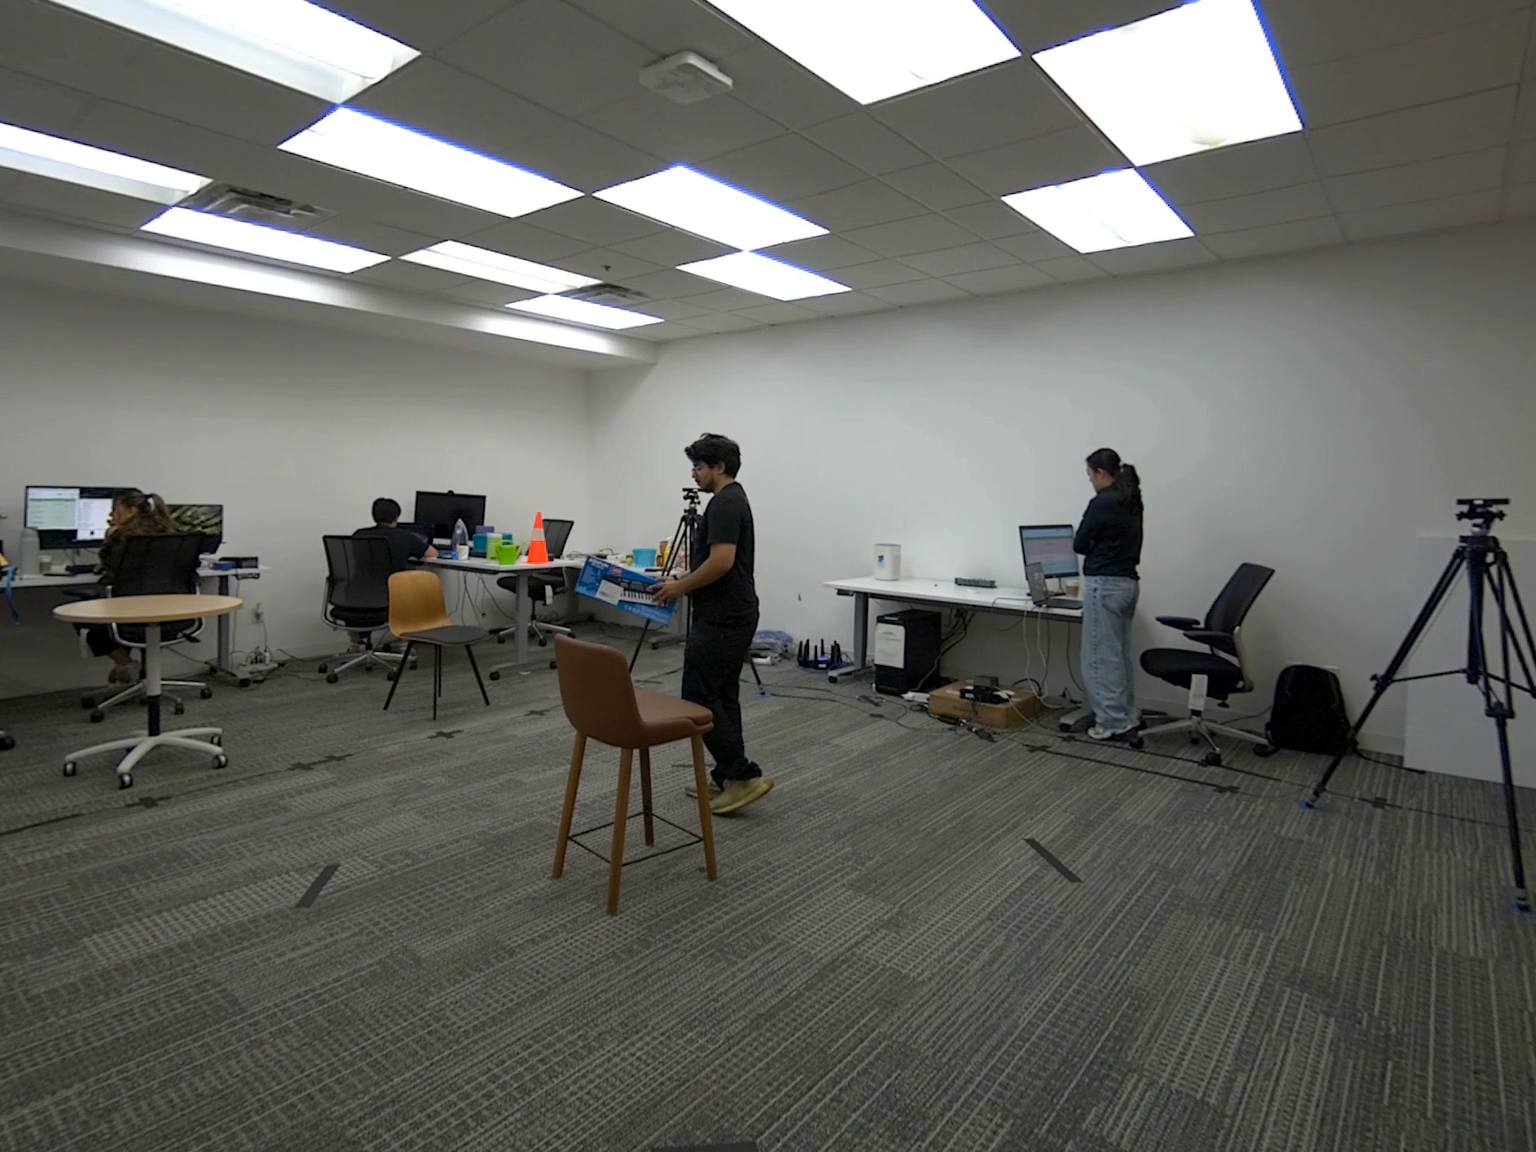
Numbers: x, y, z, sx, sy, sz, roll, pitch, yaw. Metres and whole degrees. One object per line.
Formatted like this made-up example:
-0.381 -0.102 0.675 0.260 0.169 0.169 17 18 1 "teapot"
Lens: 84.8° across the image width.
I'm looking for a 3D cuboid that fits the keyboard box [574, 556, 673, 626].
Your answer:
-0.634 0.064 3.768 0.434 0.176 0.059 20 -5 -5 "keyboard box"
